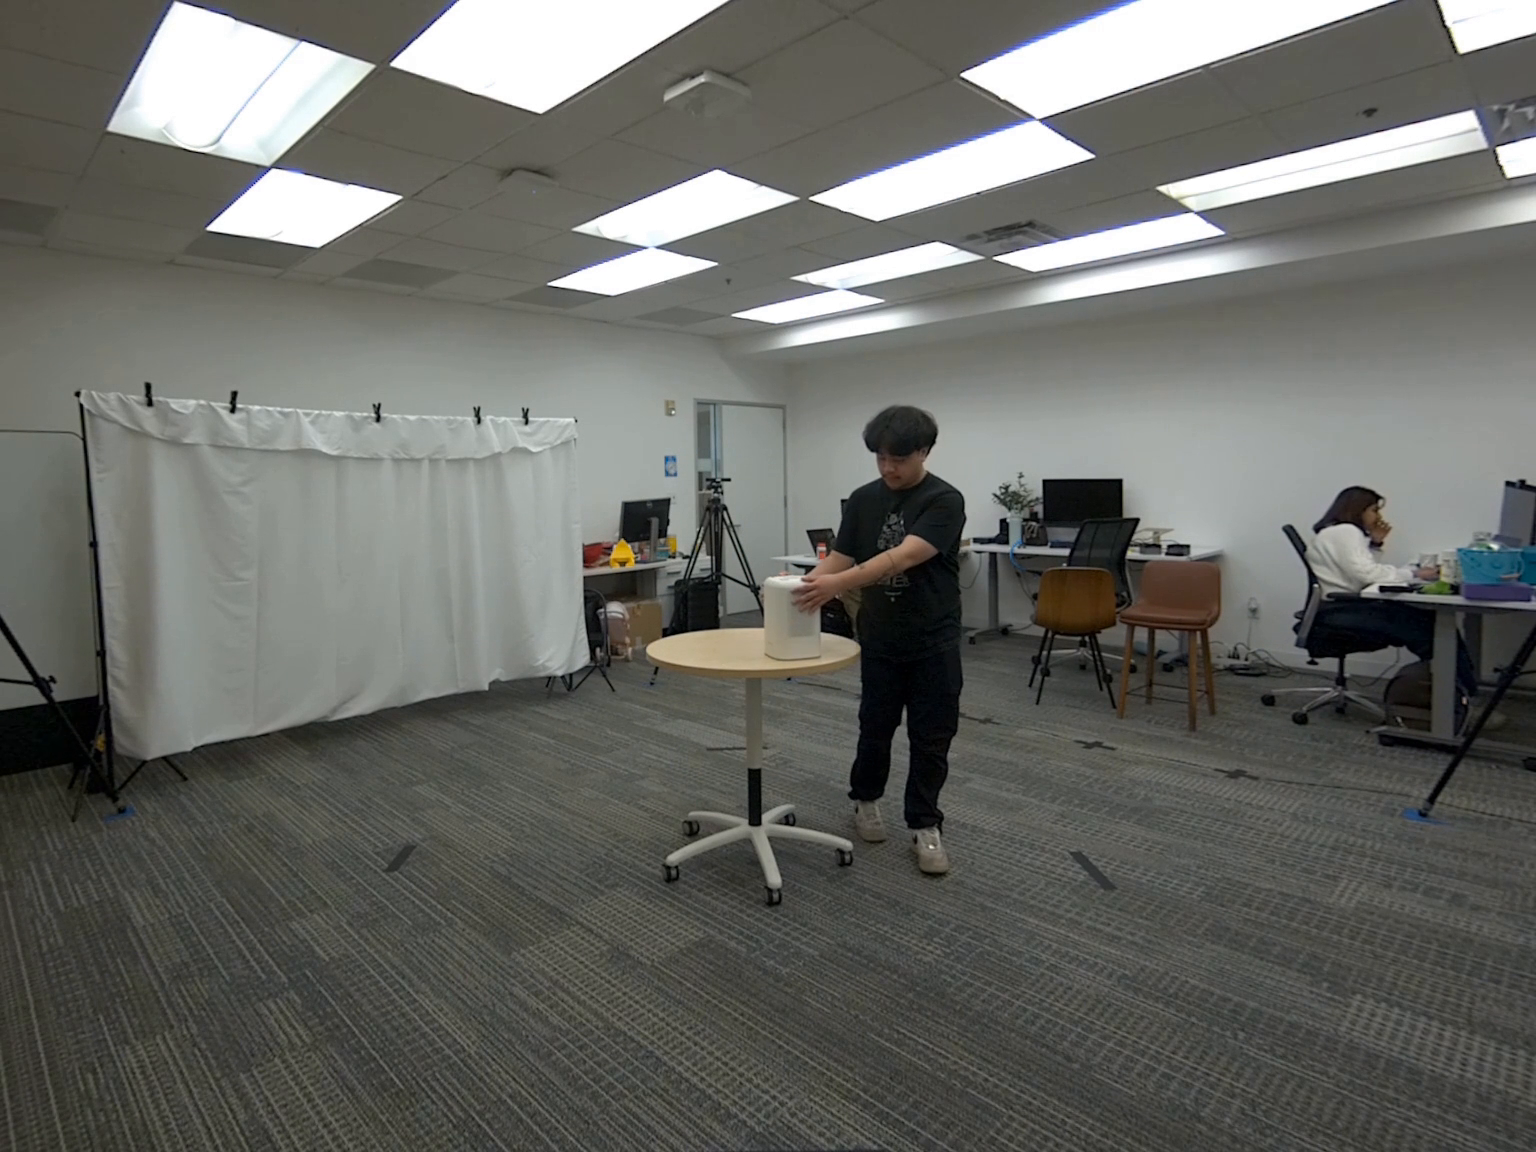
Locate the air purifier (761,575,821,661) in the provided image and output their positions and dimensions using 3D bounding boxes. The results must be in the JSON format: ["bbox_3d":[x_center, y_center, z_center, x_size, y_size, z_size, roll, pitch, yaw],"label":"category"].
[{"bbox_3d":[0.087,0.138,2.900,0.169,0.264,0.174,-1,6,-15],"label":"air purifier"}]
